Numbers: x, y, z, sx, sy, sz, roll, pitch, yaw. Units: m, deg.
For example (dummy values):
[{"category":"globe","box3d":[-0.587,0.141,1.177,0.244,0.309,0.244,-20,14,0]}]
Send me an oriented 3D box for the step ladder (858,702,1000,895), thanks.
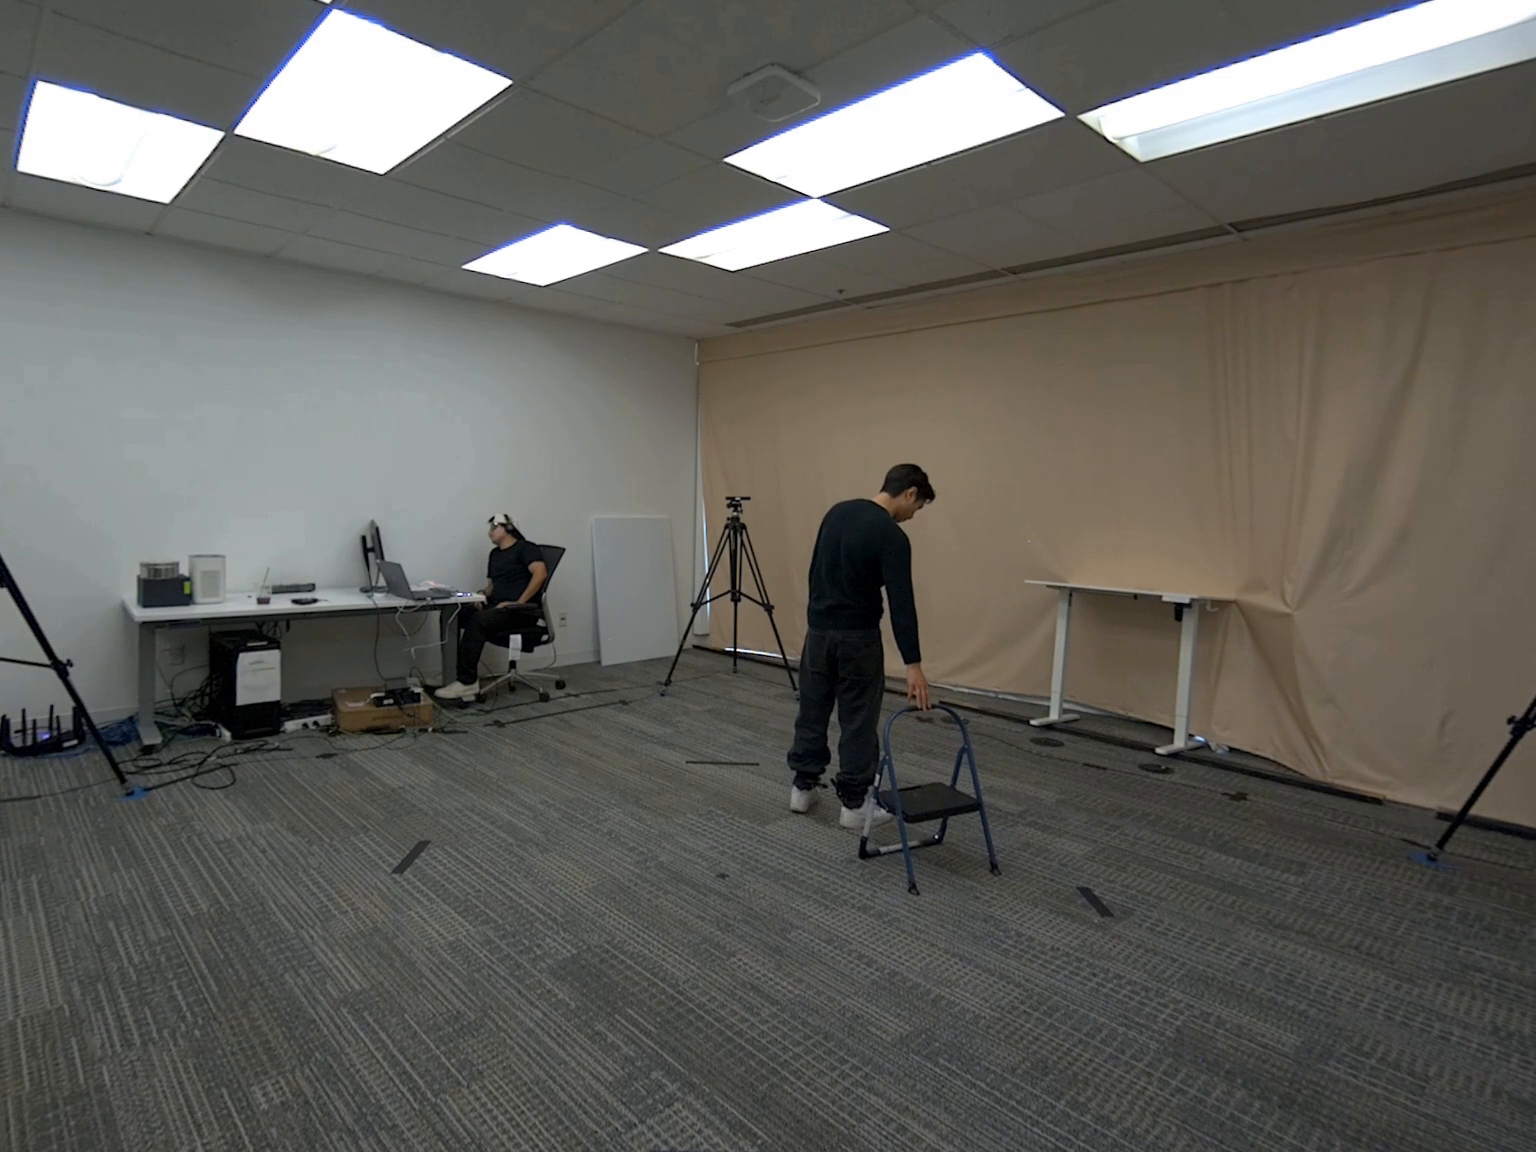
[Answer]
[{"category":"step ladder","box3d":[0.613,0.808,3.226,0.422,0.605,0.357,0,3,-29]}]
